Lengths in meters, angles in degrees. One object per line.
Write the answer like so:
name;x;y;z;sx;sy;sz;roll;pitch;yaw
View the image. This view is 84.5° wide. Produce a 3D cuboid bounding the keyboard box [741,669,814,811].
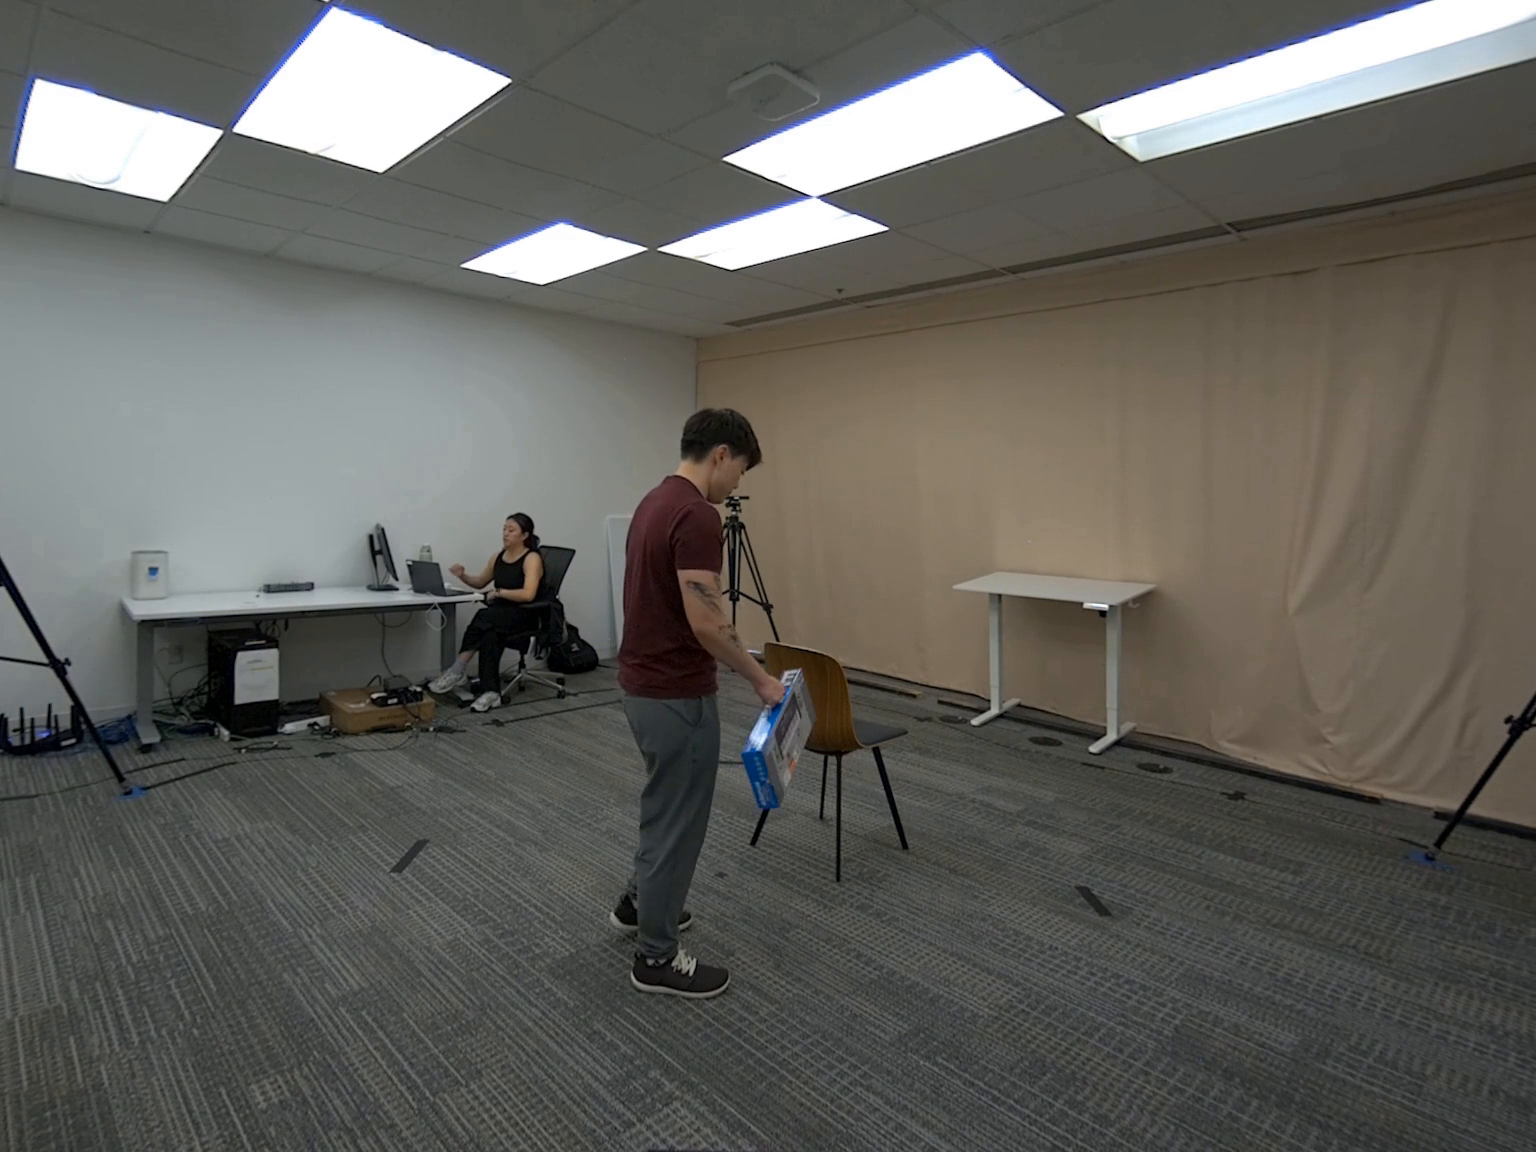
keyboard box;0.024;0.439;2.332;0.060;0.173;0.438;-10;19;20
